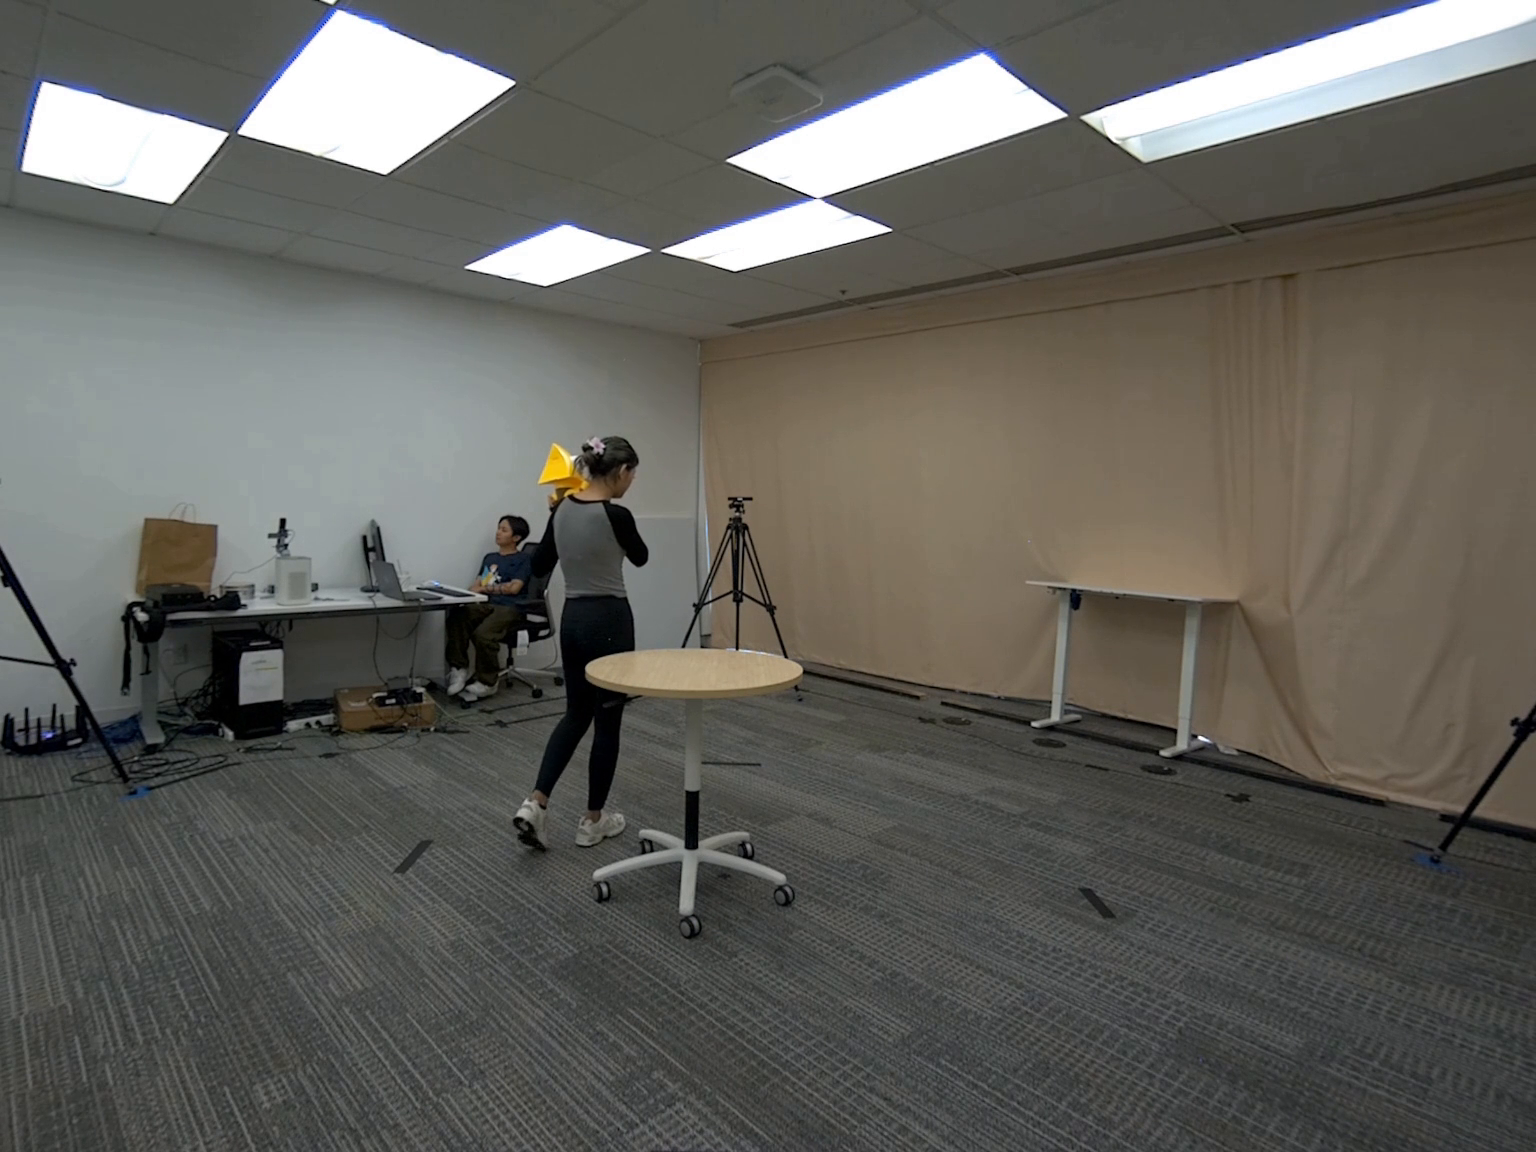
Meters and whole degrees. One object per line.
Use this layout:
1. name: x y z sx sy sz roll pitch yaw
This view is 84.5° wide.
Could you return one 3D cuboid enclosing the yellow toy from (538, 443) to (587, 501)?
1. yellow toy: -0.829 -0.436 3.478 0.209 0.230 0.189 -6 3 40
